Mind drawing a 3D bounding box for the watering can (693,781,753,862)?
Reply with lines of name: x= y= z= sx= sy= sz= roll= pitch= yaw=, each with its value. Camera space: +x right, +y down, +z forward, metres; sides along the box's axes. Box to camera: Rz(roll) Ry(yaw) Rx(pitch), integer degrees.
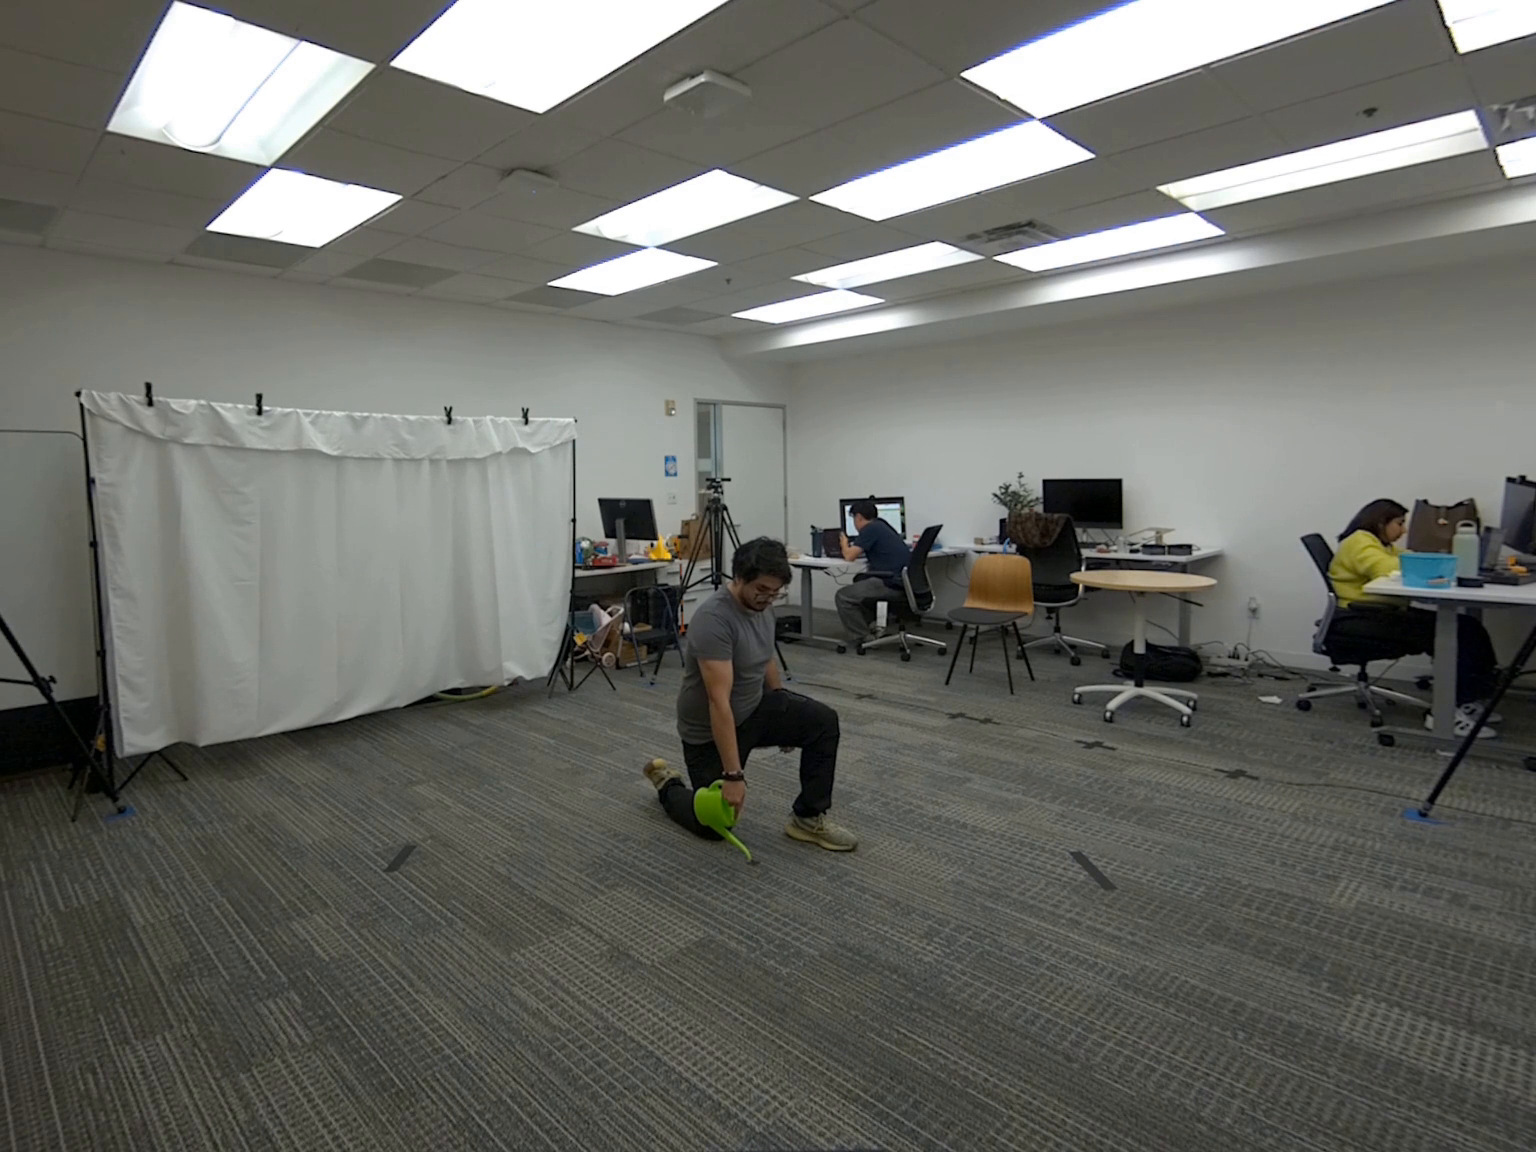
watering can: x=-0.157 y=0.862 z=3.005 sx=0.180 sy=0.281 sz=0.095 roll=-15 pitch=-13 yaw=41
